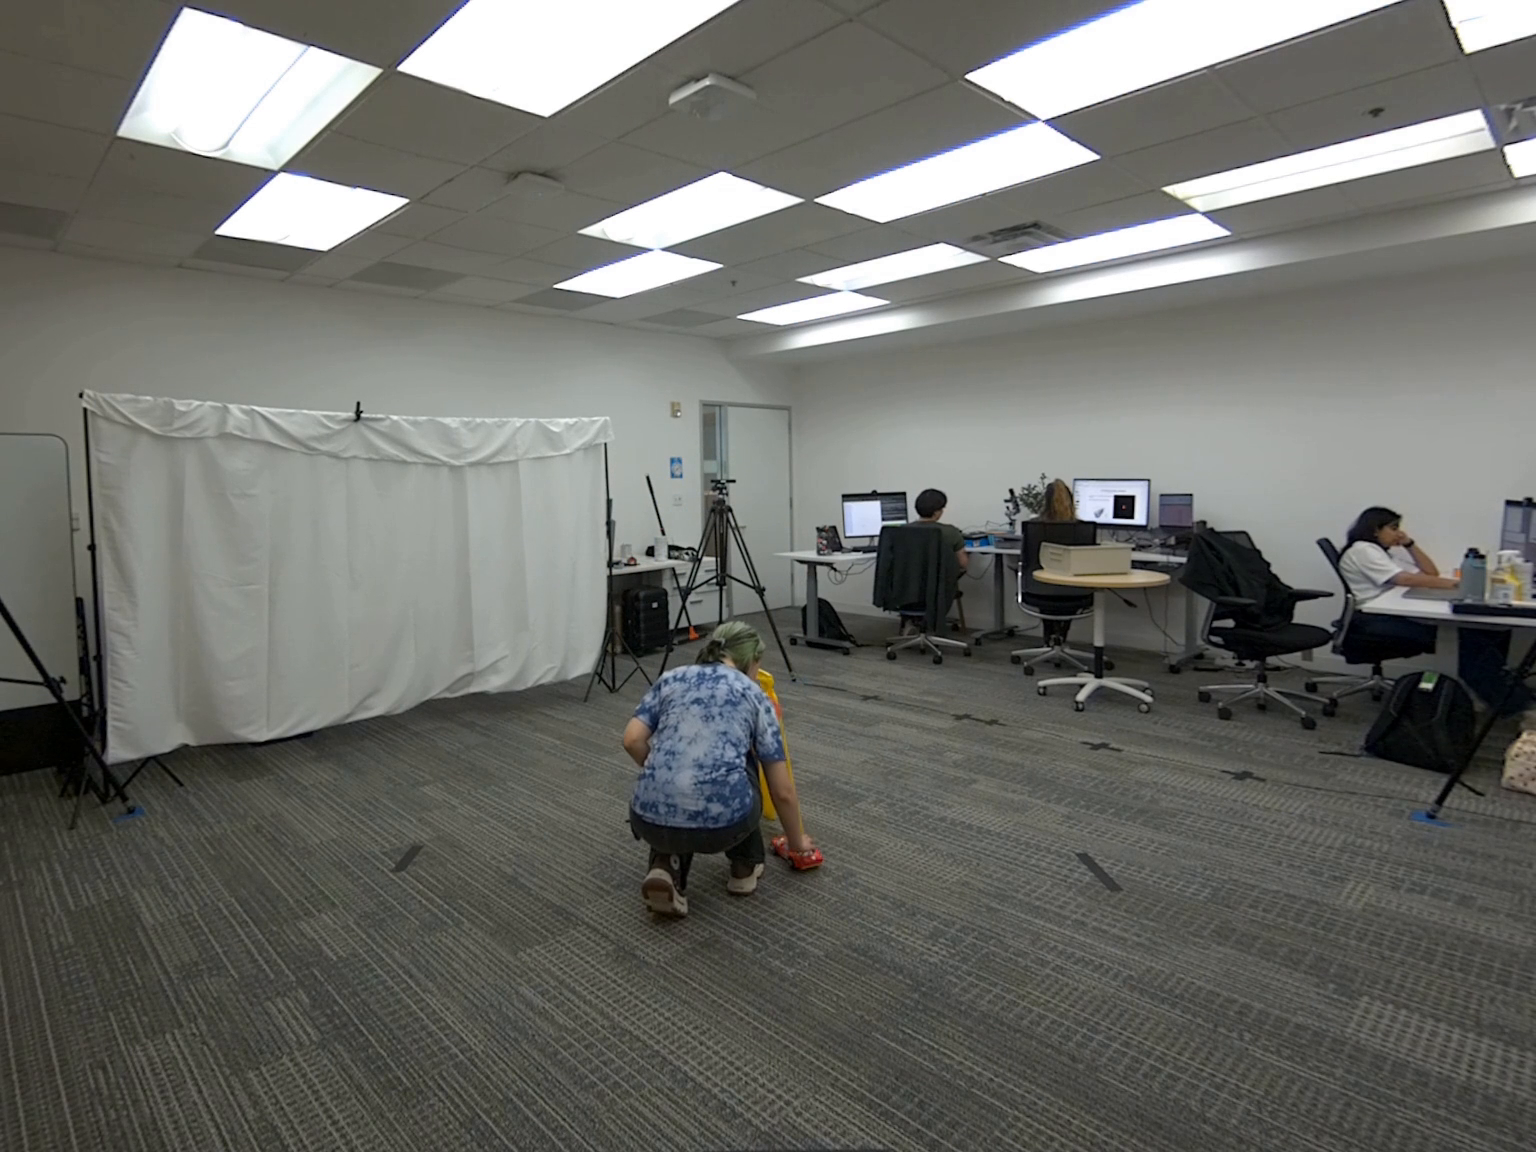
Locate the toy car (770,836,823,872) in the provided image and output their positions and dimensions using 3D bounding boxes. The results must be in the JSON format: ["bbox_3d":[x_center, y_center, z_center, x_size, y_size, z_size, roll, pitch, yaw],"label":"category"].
[{"bbox_3d":[0.116,1.019,3.118,0.127,0.084,0.258,-4,-5,-26],"label":"toy car"}]
